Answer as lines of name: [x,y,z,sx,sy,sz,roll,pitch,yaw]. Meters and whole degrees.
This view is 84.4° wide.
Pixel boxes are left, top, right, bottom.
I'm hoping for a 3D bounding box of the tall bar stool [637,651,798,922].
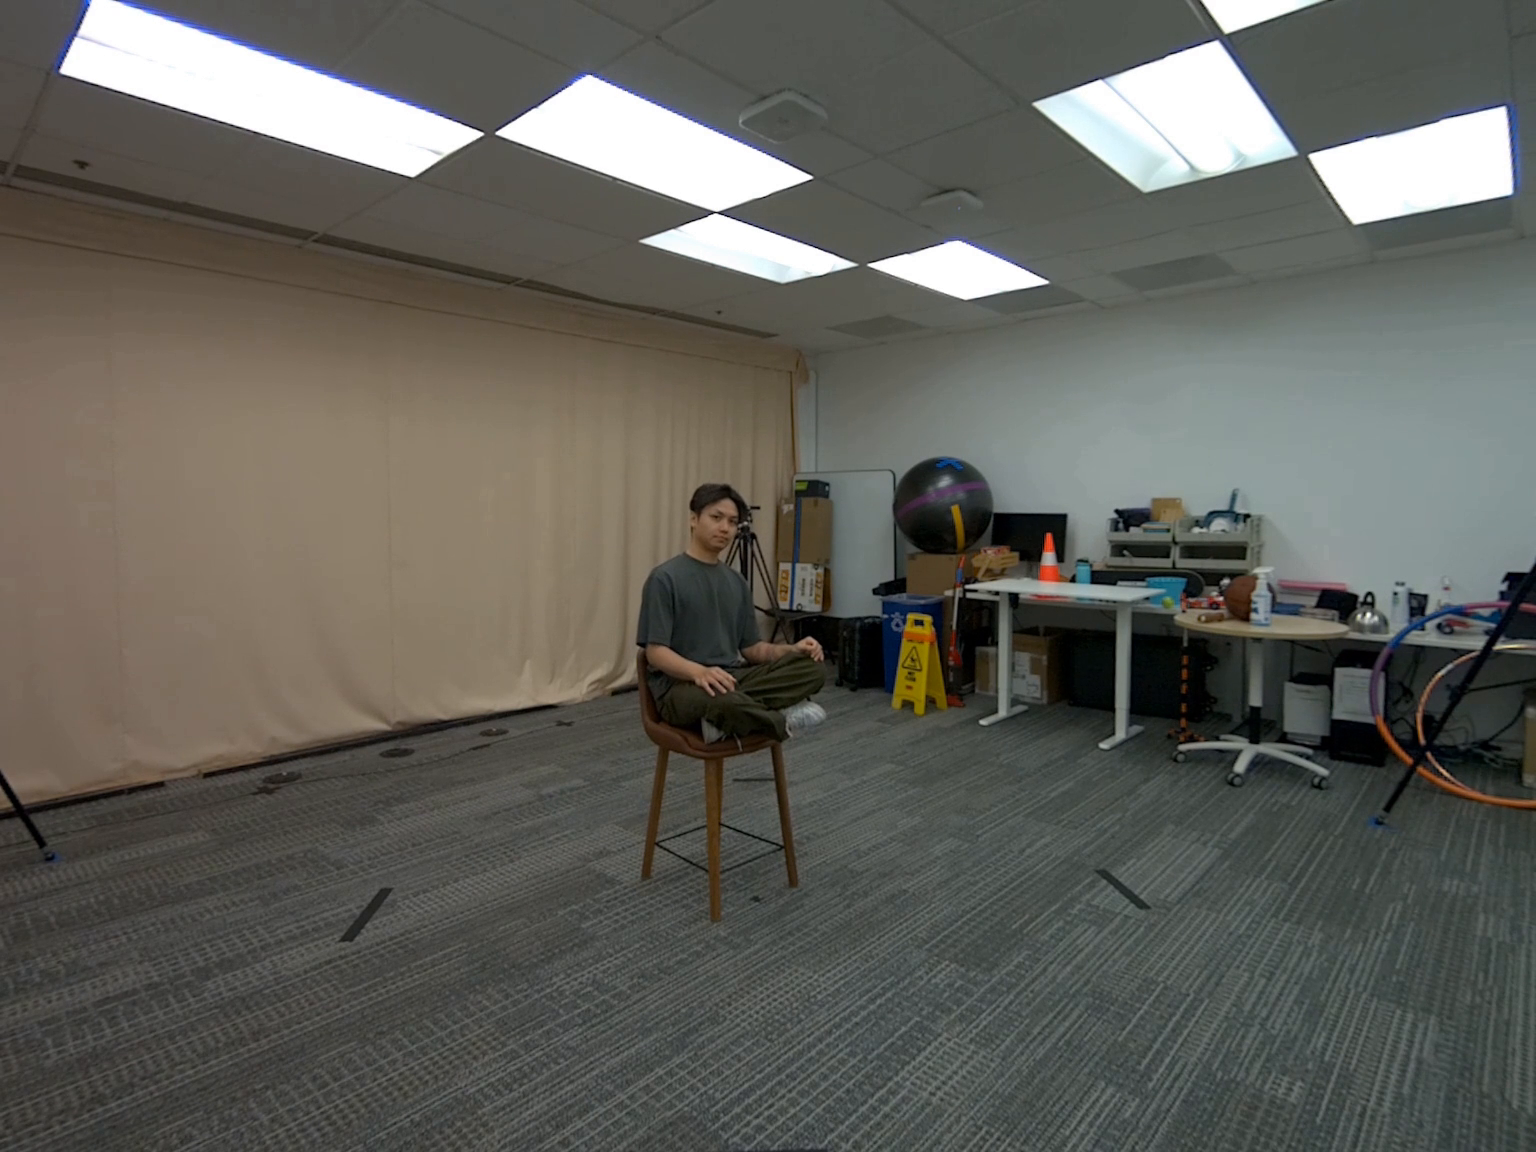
tall bar stool: [-0.197,0.699,3.102,0.442,0.889,0.482,-4,2,-43]
